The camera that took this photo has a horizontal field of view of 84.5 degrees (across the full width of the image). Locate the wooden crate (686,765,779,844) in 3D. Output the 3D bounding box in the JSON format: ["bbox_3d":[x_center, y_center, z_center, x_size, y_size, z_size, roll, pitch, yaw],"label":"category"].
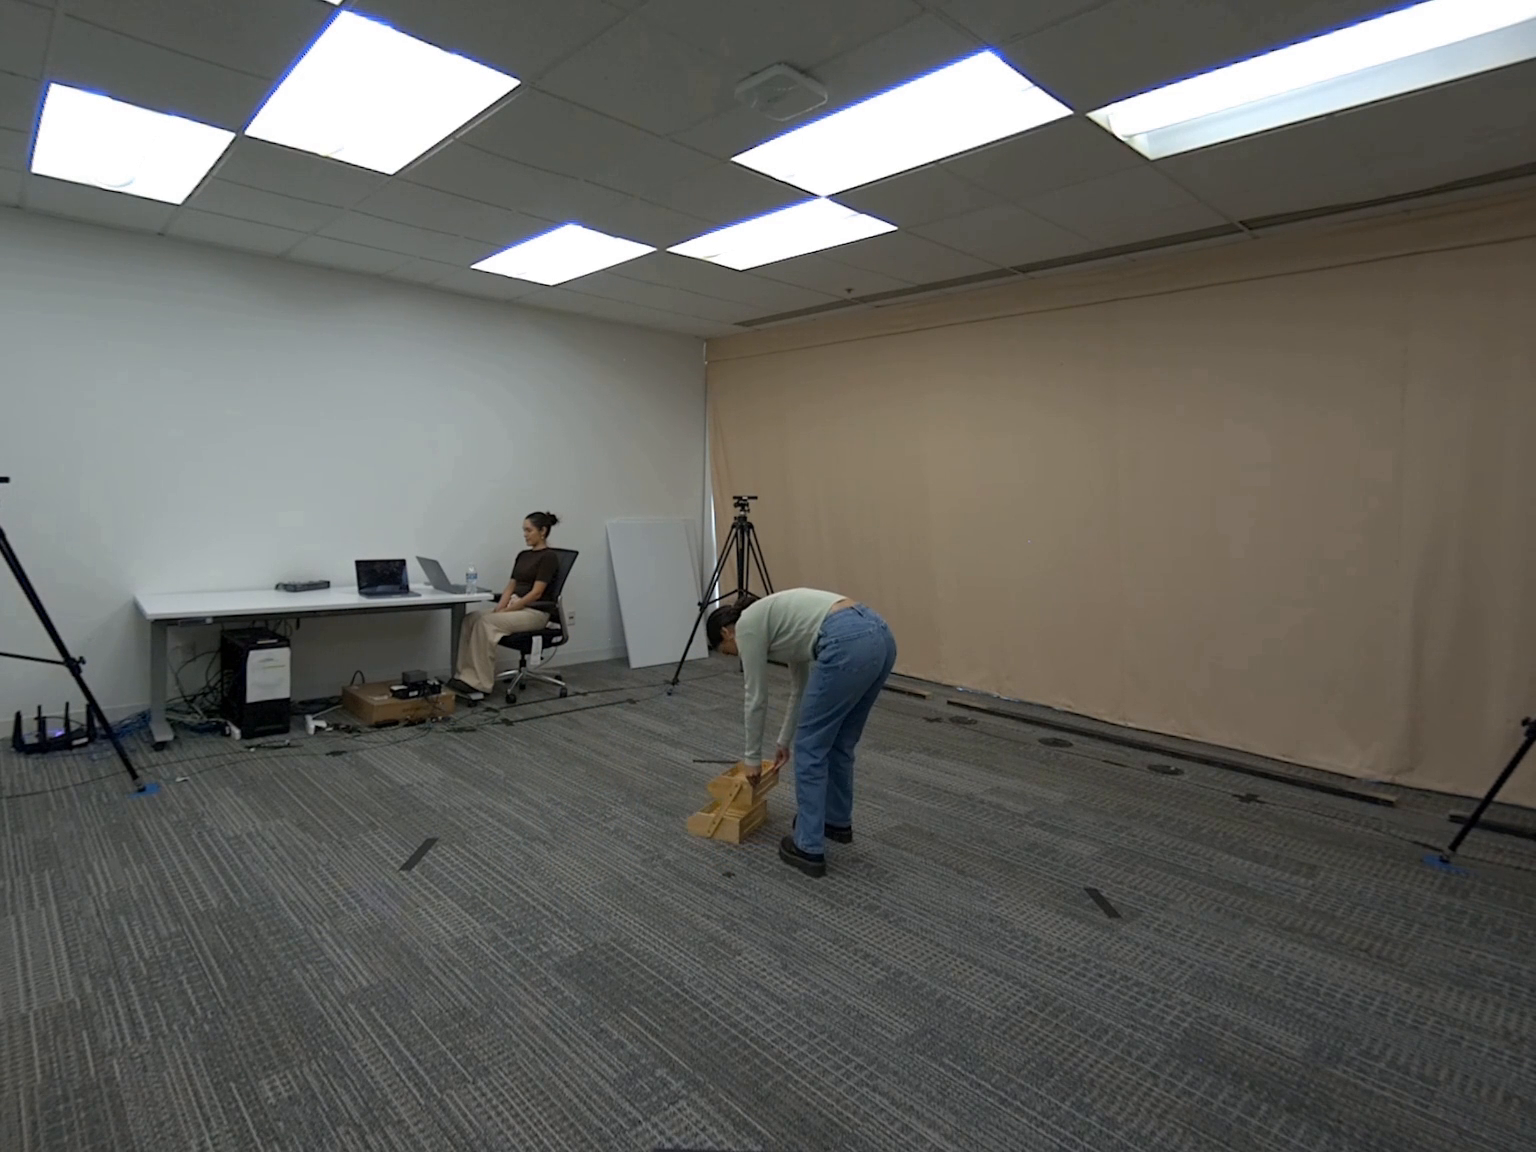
[{"bbox_3d":[-0.157,0.929,3.557,0.307,0.272,0.320,4,5,22],"label":"wooden crate"}]
